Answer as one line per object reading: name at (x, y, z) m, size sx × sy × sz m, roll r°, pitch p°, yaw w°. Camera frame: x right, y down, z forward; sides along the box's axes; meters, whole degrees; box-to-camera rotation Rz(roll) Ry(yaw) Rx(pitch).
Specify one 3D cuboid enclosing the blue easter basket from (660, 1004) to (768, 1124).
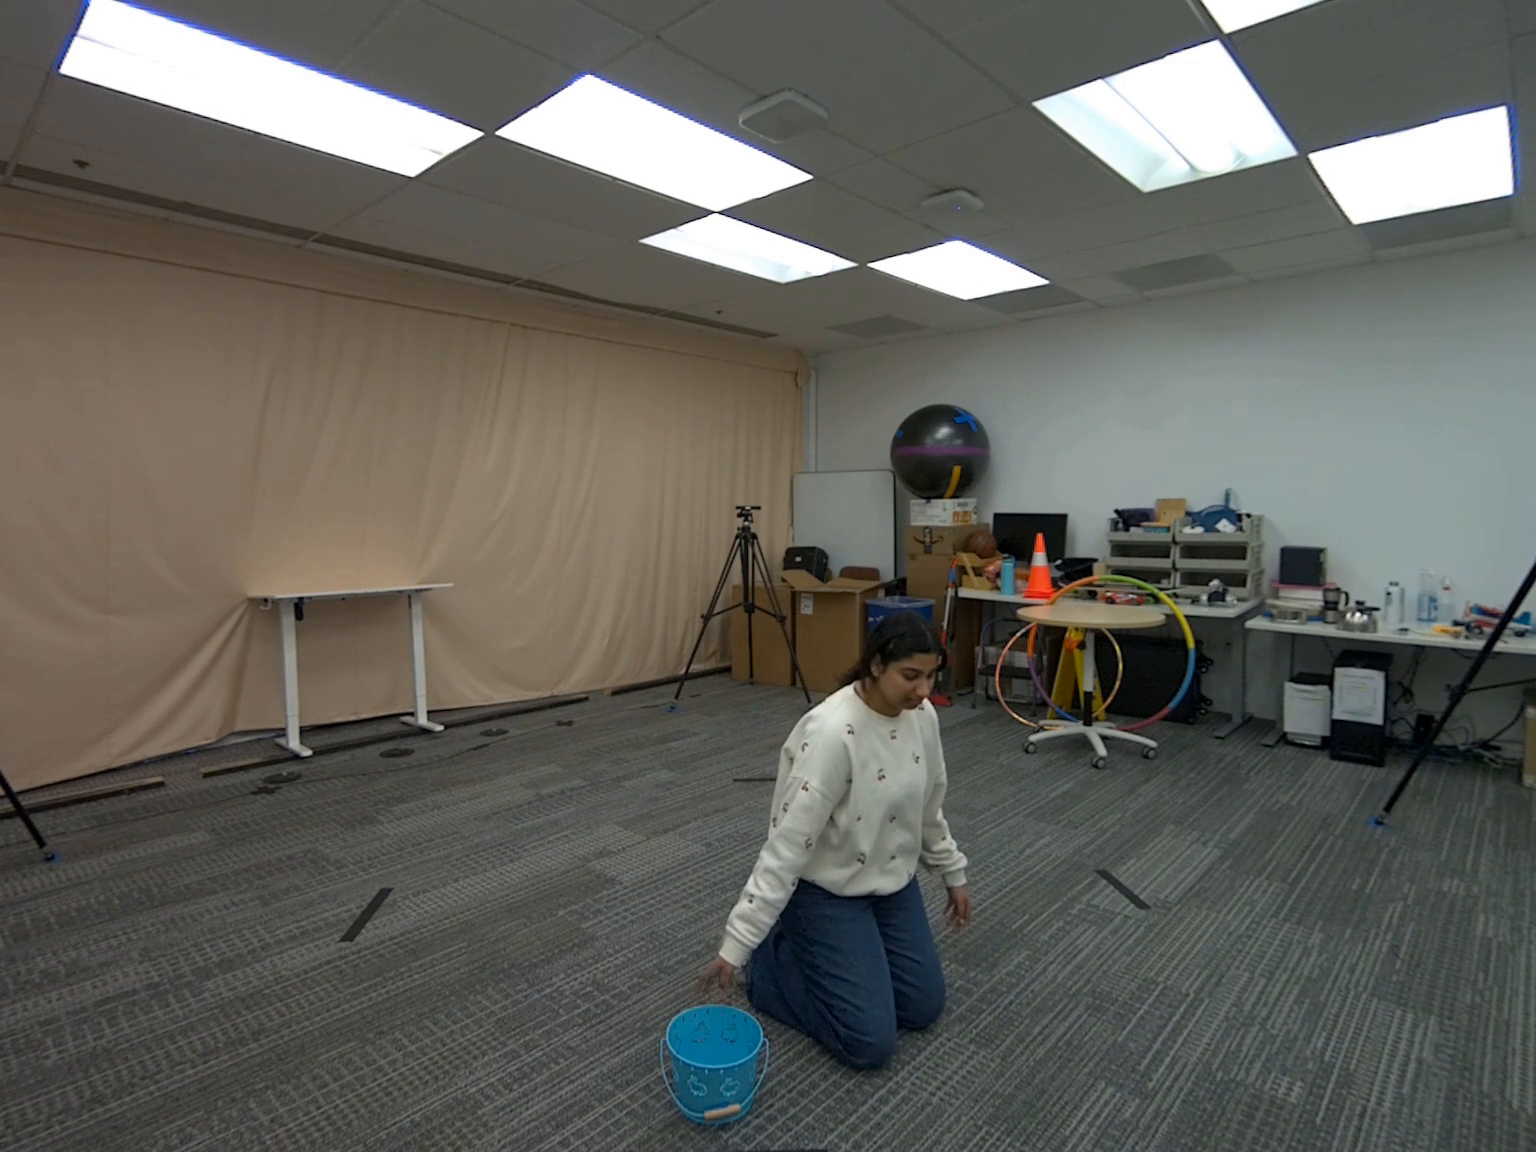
blue easter basket at (-0.128, 1.154, 1.976) m, size 0.243 × 0.155 × 0.244 m, roll -1°, pitch 5°, yaw -2°
